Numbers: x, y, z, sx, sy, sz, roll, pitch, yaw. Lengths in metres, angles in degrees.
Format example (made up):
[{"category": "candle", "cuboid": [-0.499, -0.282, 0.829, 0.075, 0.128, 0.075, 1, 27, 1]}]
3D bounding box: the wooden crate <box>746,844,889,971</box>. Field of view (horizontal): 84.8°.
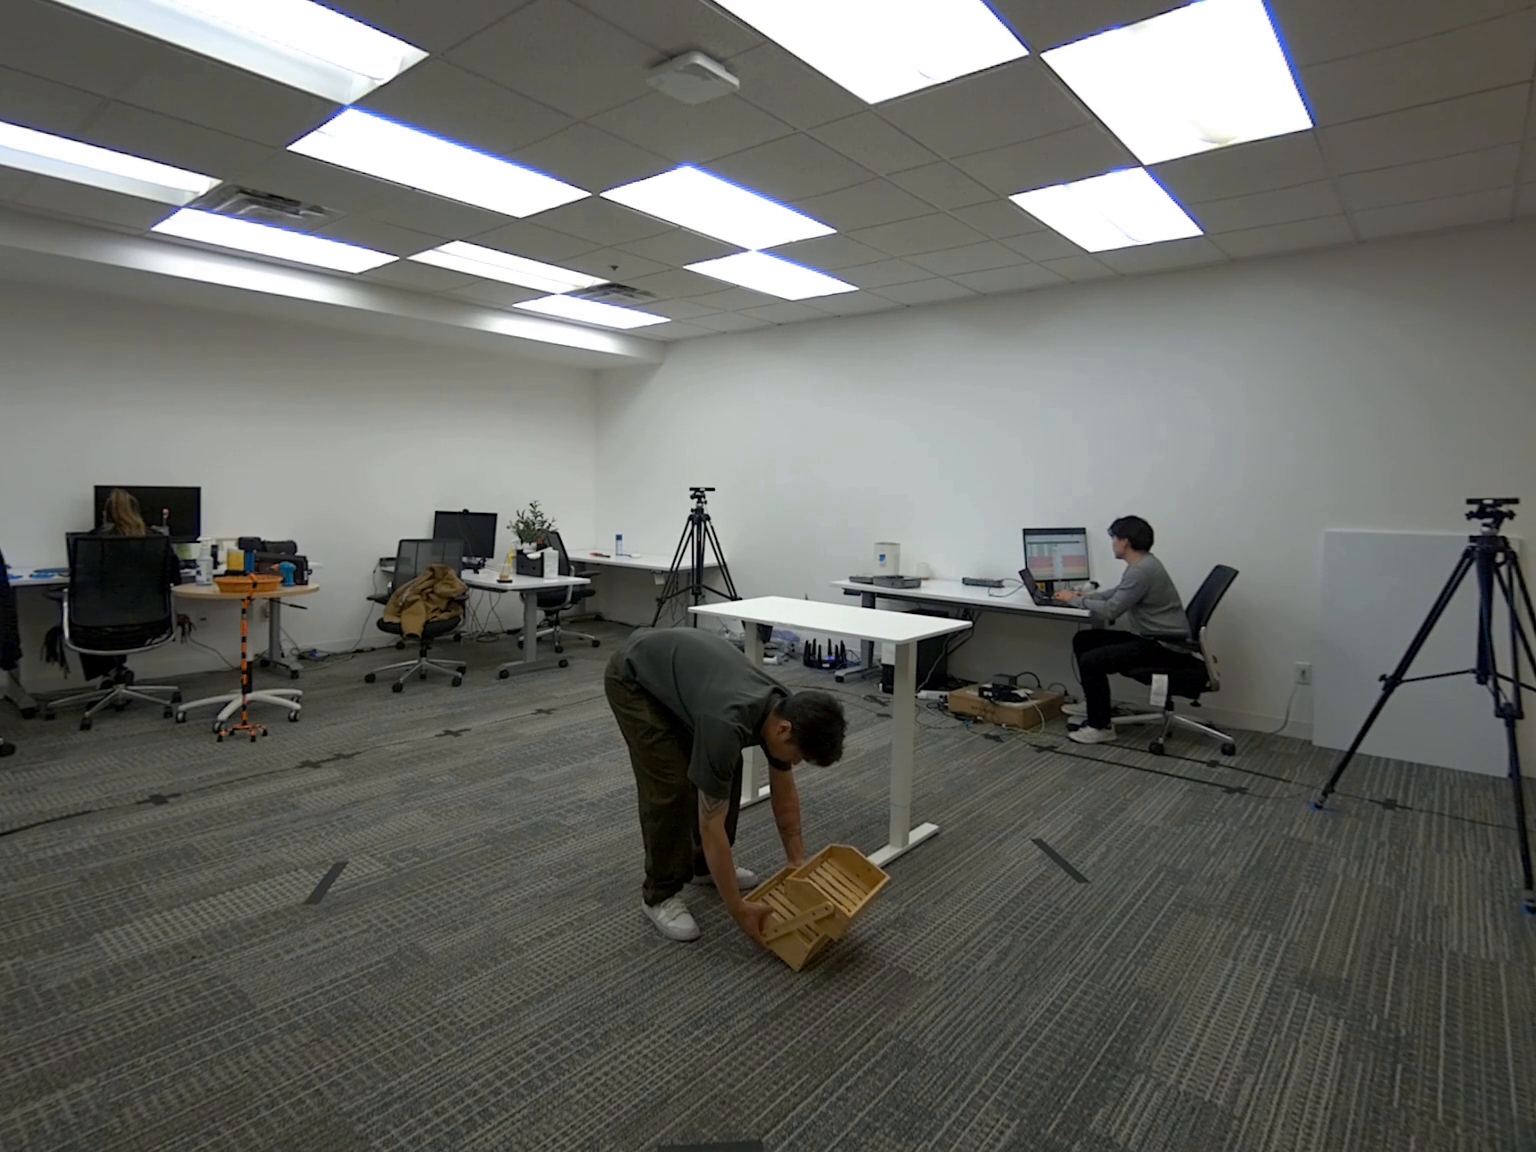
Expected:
[{"category": "wooden crate", "cuboid": [0.132, 0.966, 2.574, 0.312, 0.271, 0.316, 32, 20, 25]}]
